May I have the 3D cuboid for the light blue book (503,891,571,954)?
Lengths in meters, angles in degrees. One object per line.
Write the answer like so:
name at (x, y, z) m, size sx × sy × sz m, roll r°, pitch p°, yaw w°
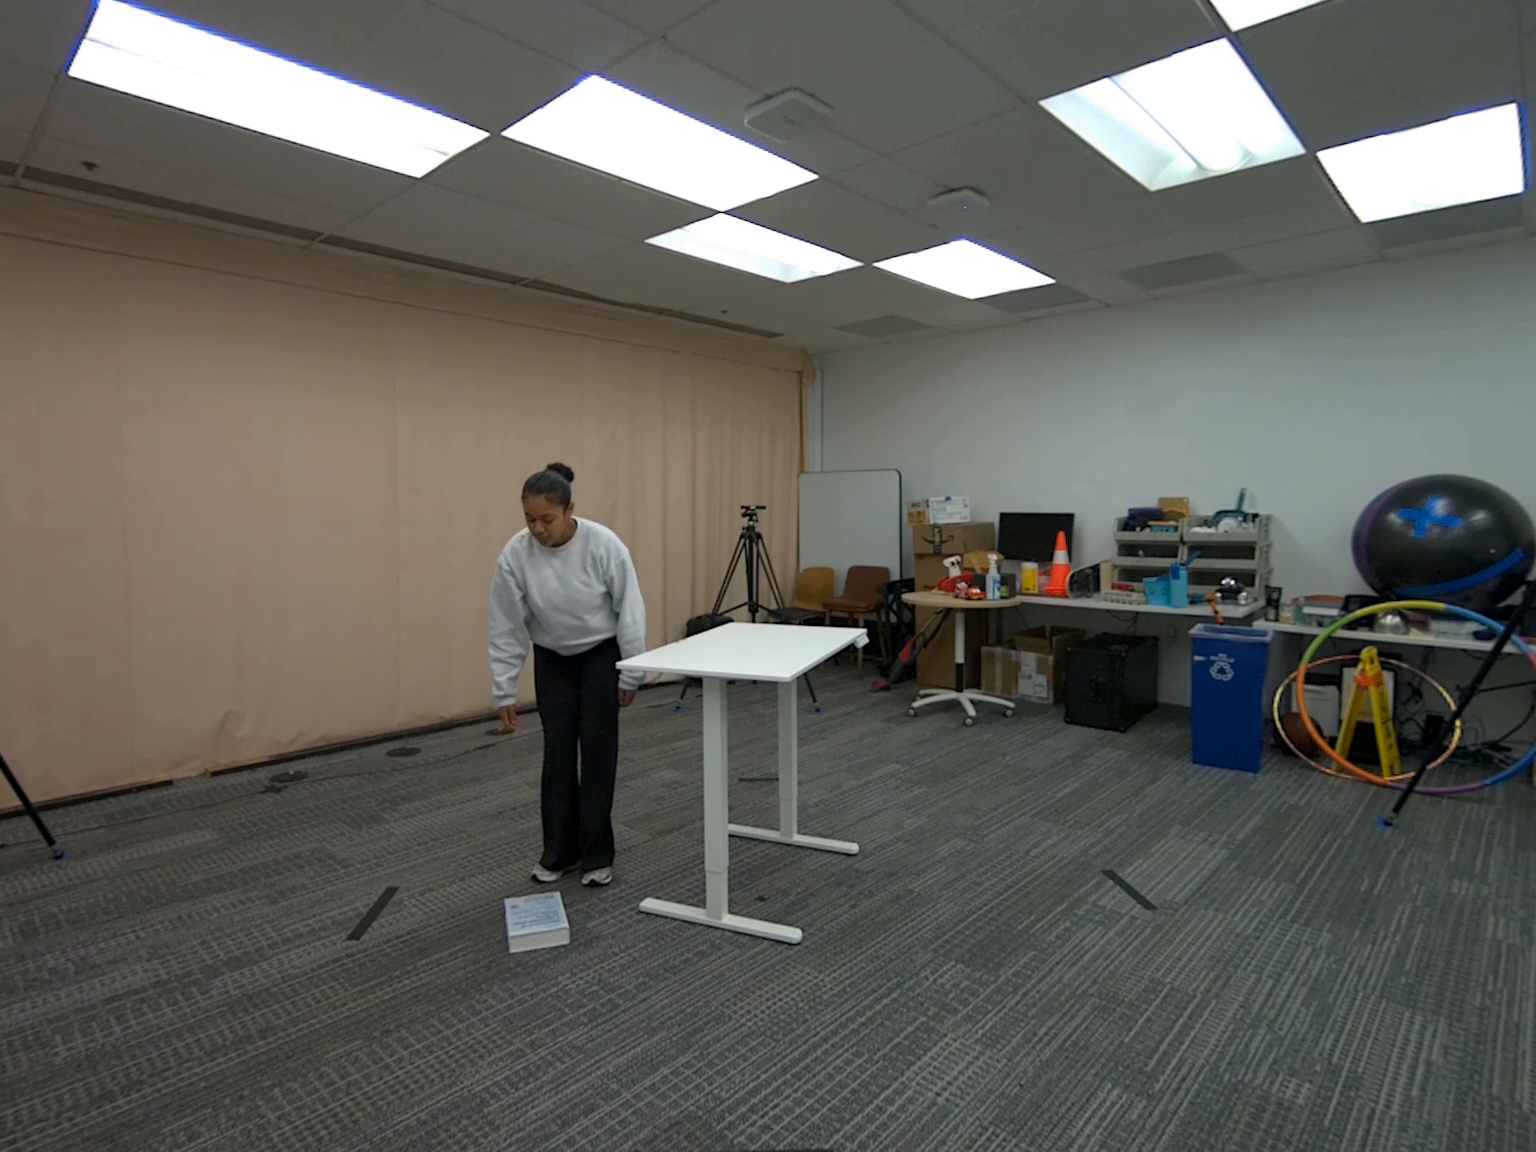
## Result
light blue book at (-0.758, 1.128, 2.778) m, size 0.188 × 0.059 × 0.266 m, roll -3°, pitch 5°, yaw -19°
